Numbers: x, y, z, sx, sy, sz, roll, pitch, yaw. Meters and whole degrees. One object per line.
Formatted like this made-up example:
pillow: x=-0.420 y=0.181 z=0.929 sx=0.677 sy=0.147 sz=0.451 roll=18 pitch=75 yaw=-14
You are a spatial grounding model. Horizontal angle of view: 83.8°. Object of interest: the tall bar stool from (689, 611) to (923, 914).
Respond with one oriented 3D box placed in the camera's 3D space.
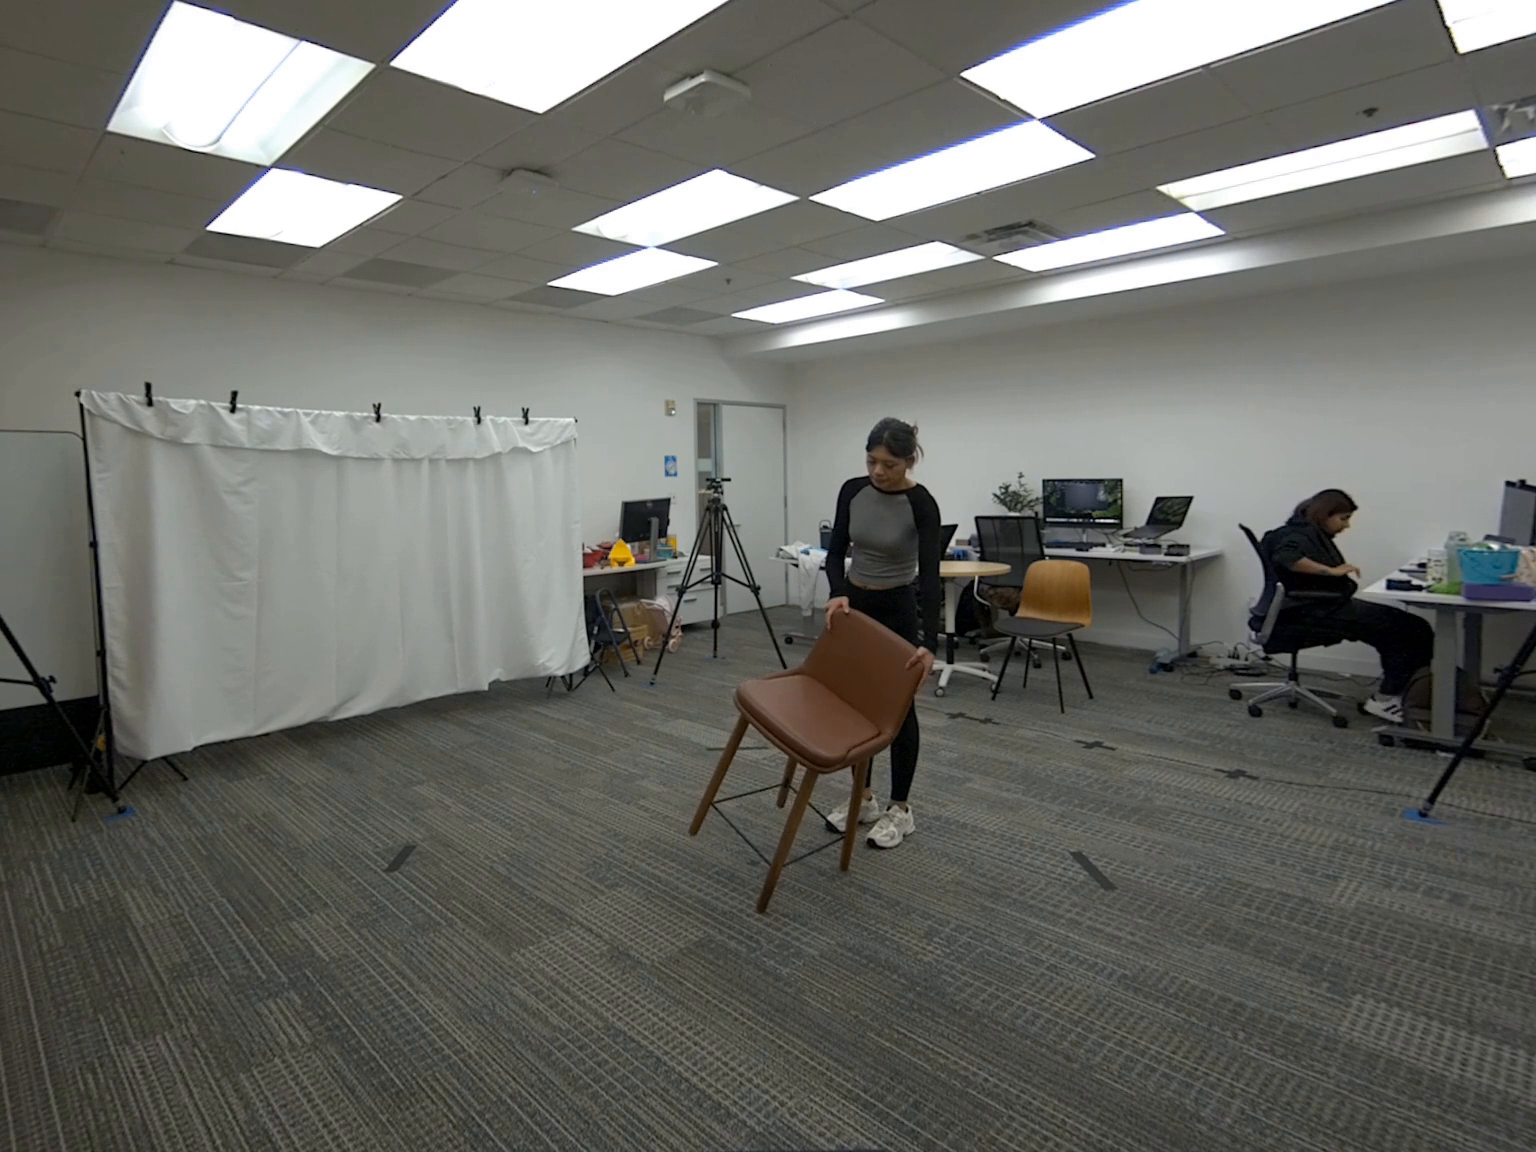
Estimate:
tall bar stool: x=0.129 y=0.591 z=2.880 sx=0.454 sy=0.880 sz=0.474 roll=0 pitch=25 yaw=-43
